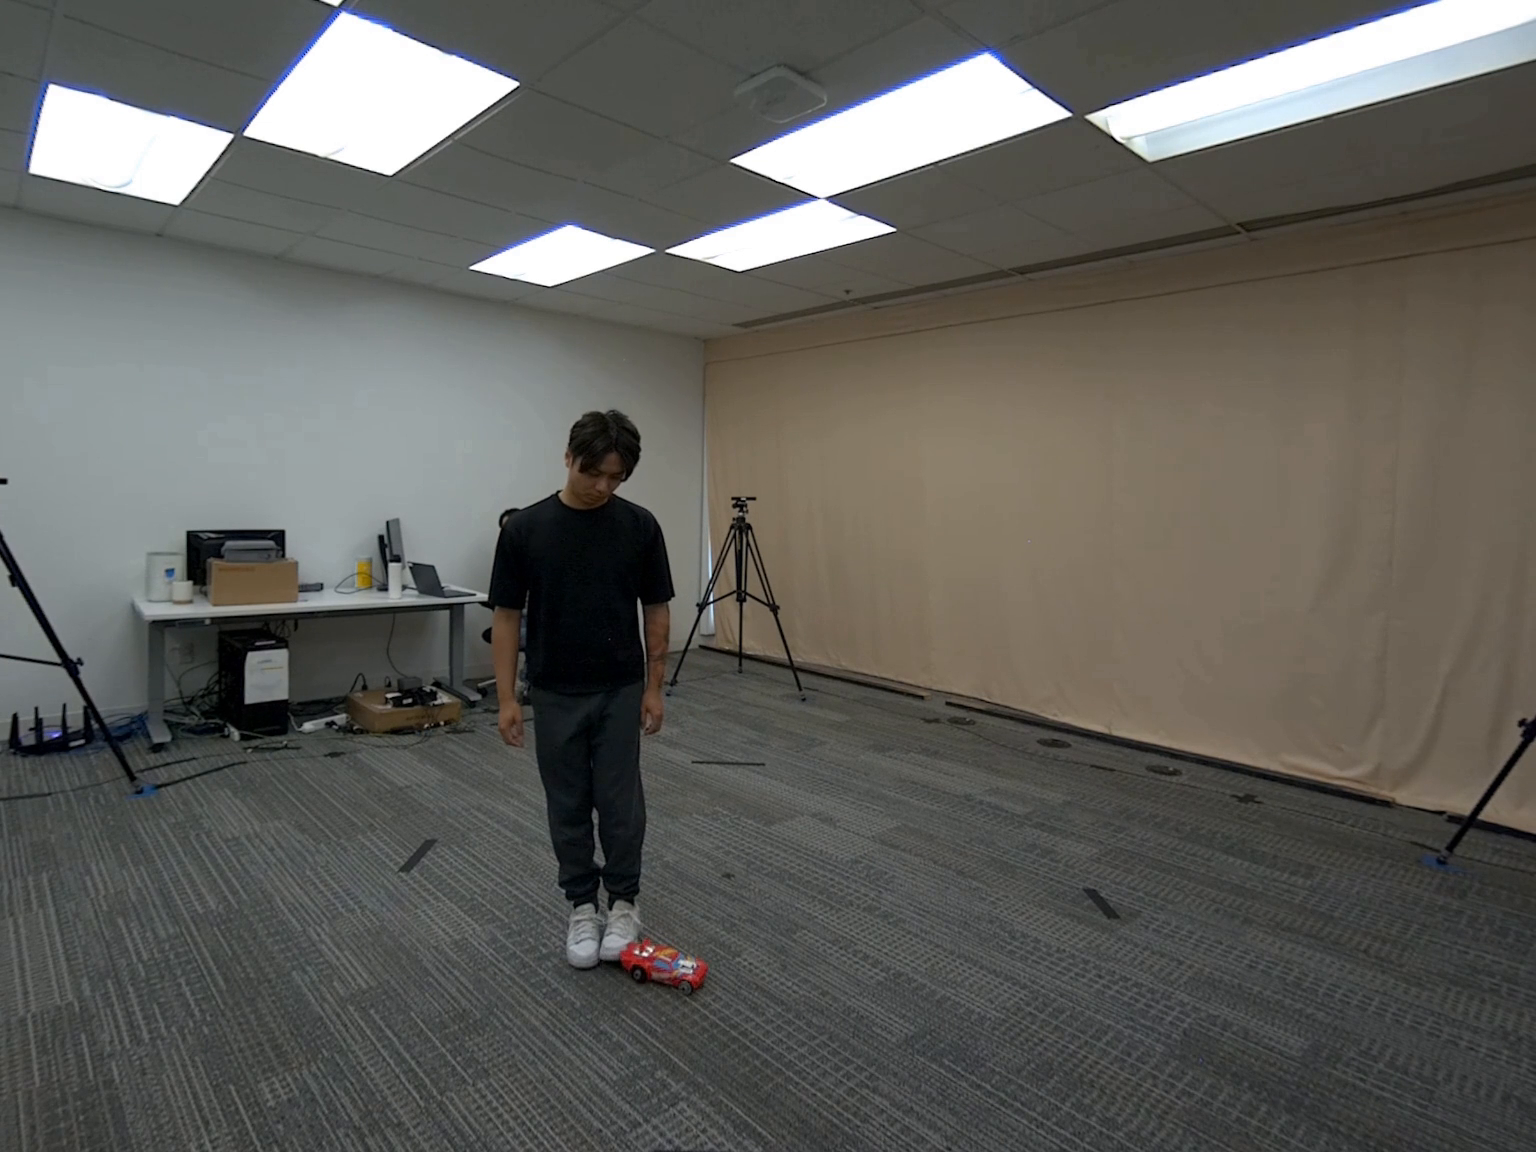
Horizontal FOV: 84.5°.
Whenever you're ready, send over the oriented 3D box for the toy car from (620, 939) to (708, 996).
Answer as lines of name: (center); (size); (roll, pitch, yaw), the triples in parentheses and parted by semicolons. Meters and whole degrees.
toy car: (-0.312, 1.130, 2.426); (0.259, 0.083, 0.129); (17, 9, 17)
